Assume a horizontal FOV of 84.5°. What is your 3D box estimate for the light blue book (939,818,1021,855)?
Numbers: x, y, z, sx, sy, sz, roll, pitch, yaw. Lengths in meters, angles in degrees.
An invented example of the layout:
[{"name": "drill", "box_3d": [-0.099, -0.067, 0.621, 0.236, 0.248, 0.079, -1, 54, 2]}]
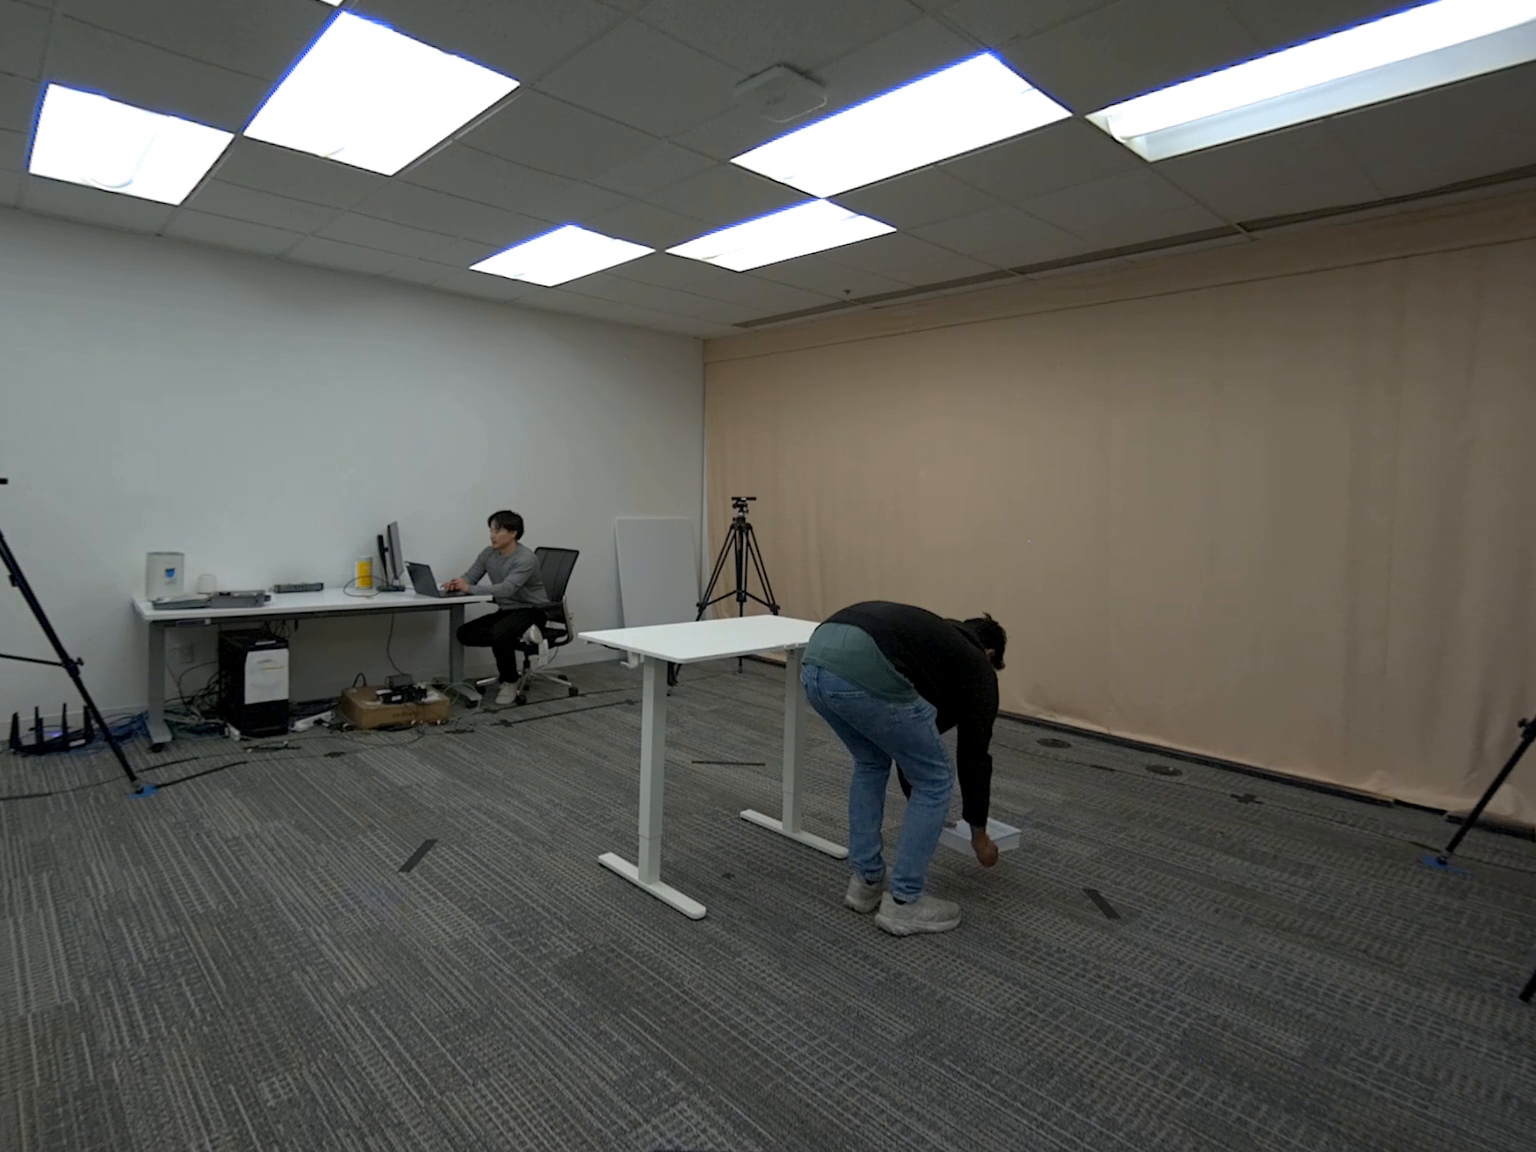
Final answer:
[{"name": "light blue book", "box_3d": [0.770, 0.950, 3.110, 0.255, 0.059, 0.196, -1, 6, -36]}]
